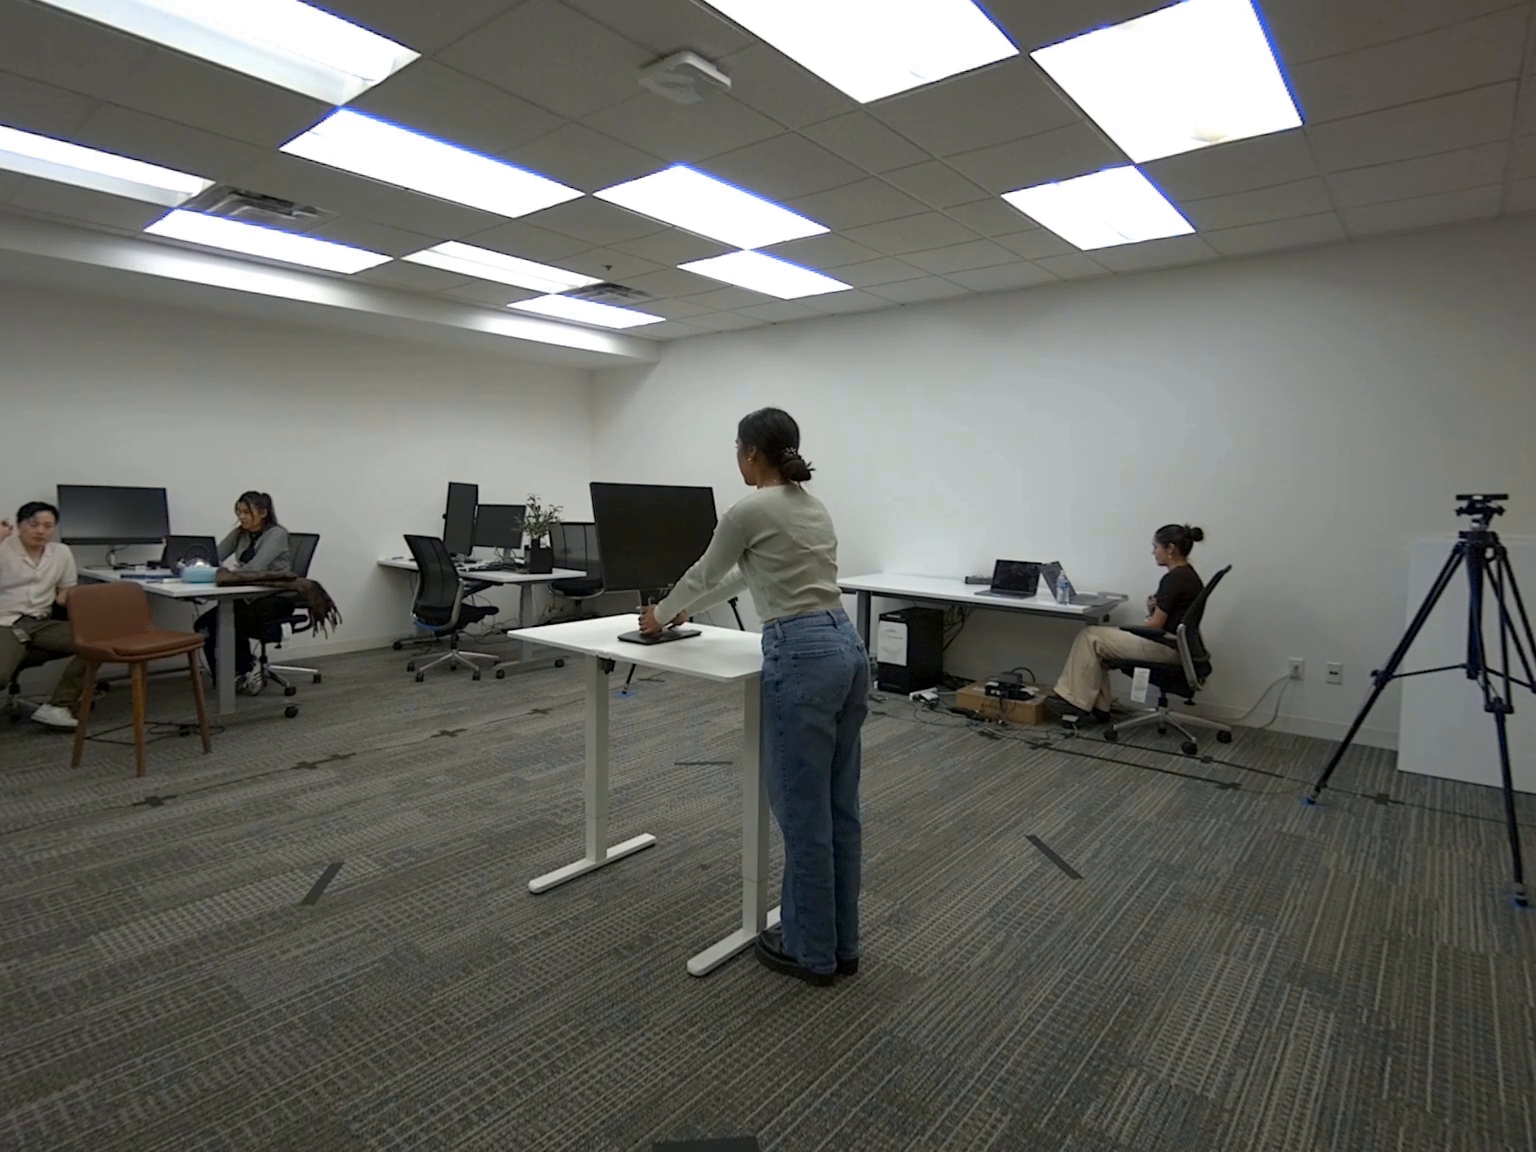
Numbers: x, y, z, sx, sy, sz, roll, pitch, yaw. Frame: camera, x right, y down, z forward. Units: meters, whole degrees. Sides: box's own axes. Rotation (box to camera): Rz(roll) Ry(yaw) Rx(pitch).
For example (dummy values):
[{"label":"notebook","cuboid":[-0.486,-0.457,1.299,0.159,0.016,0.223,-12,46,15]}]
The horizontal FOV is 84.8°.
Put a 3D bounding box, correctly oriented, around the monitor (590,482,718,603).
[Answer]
[{"label":"monitor","cuboid":[-0.389,-0.049,2.874,0.193,0.522,0.523,1,2,41]}]
